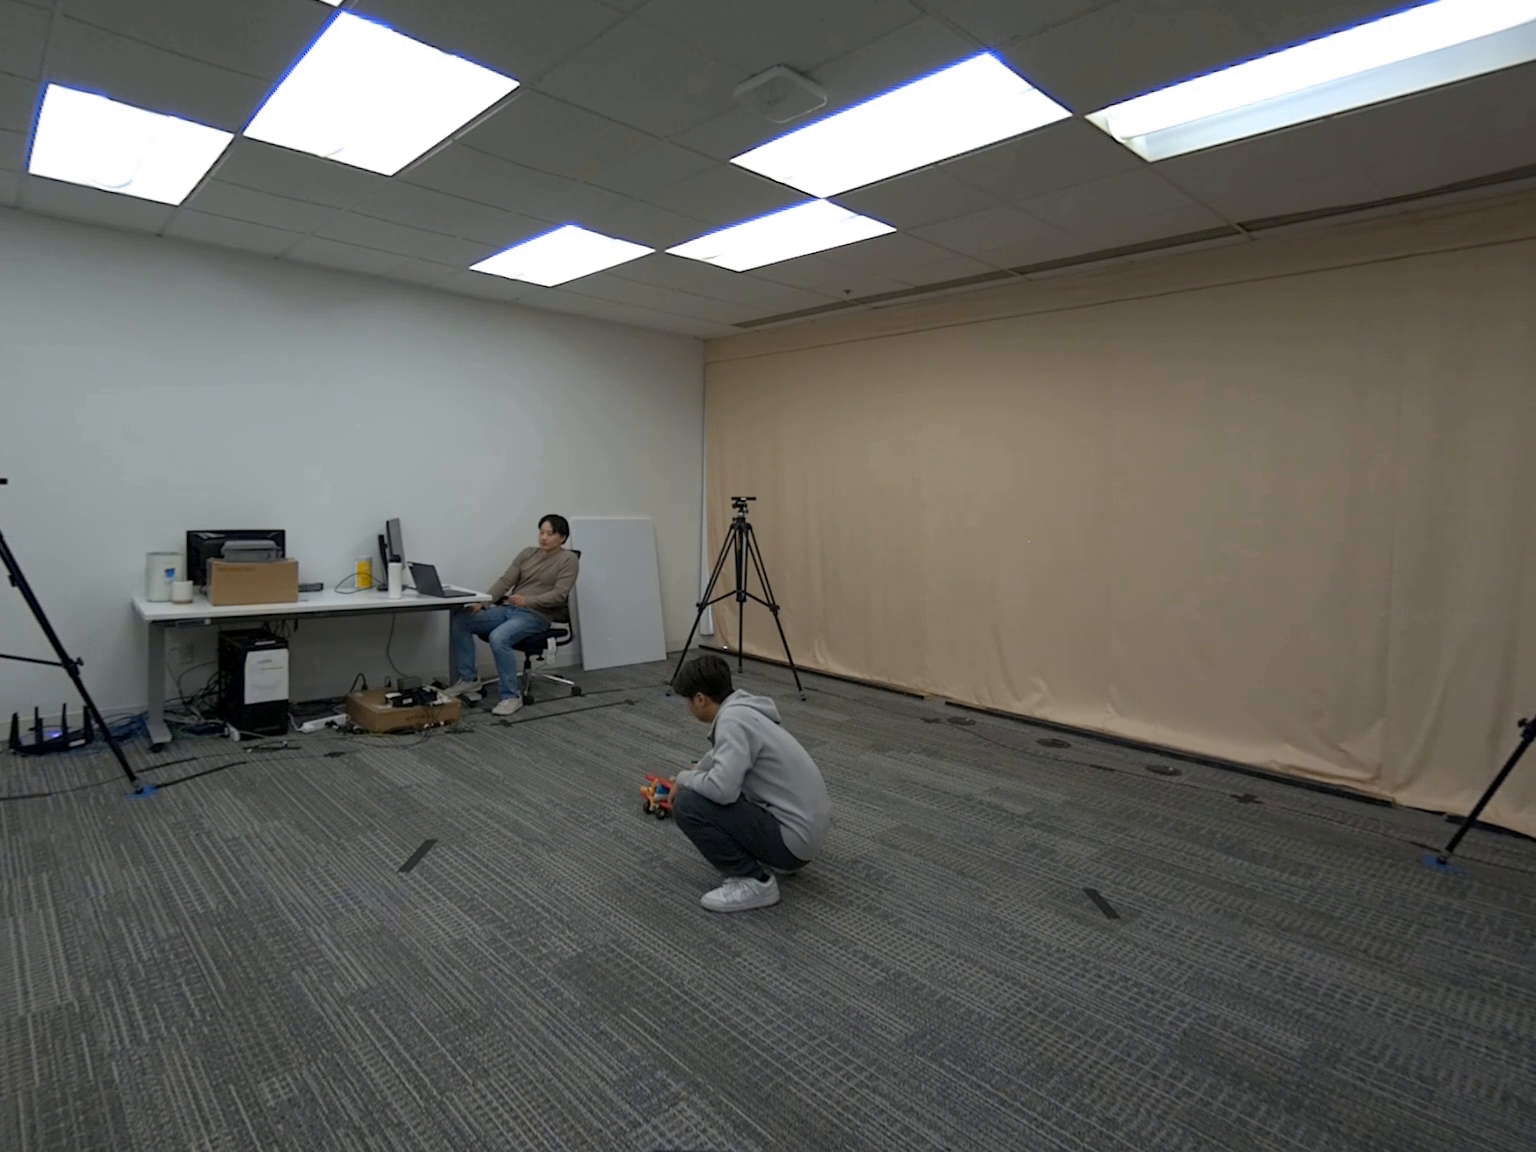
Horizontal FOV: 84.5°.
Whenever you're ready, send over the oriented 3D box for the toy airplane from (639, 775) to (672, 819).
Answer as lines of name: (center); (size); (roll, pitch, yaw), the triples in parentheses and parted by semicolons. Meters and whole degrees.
toy airplane: (-0.456, 0.970, 3.745); (0.255, 0.156, 0.256); (2, 6, 18)
